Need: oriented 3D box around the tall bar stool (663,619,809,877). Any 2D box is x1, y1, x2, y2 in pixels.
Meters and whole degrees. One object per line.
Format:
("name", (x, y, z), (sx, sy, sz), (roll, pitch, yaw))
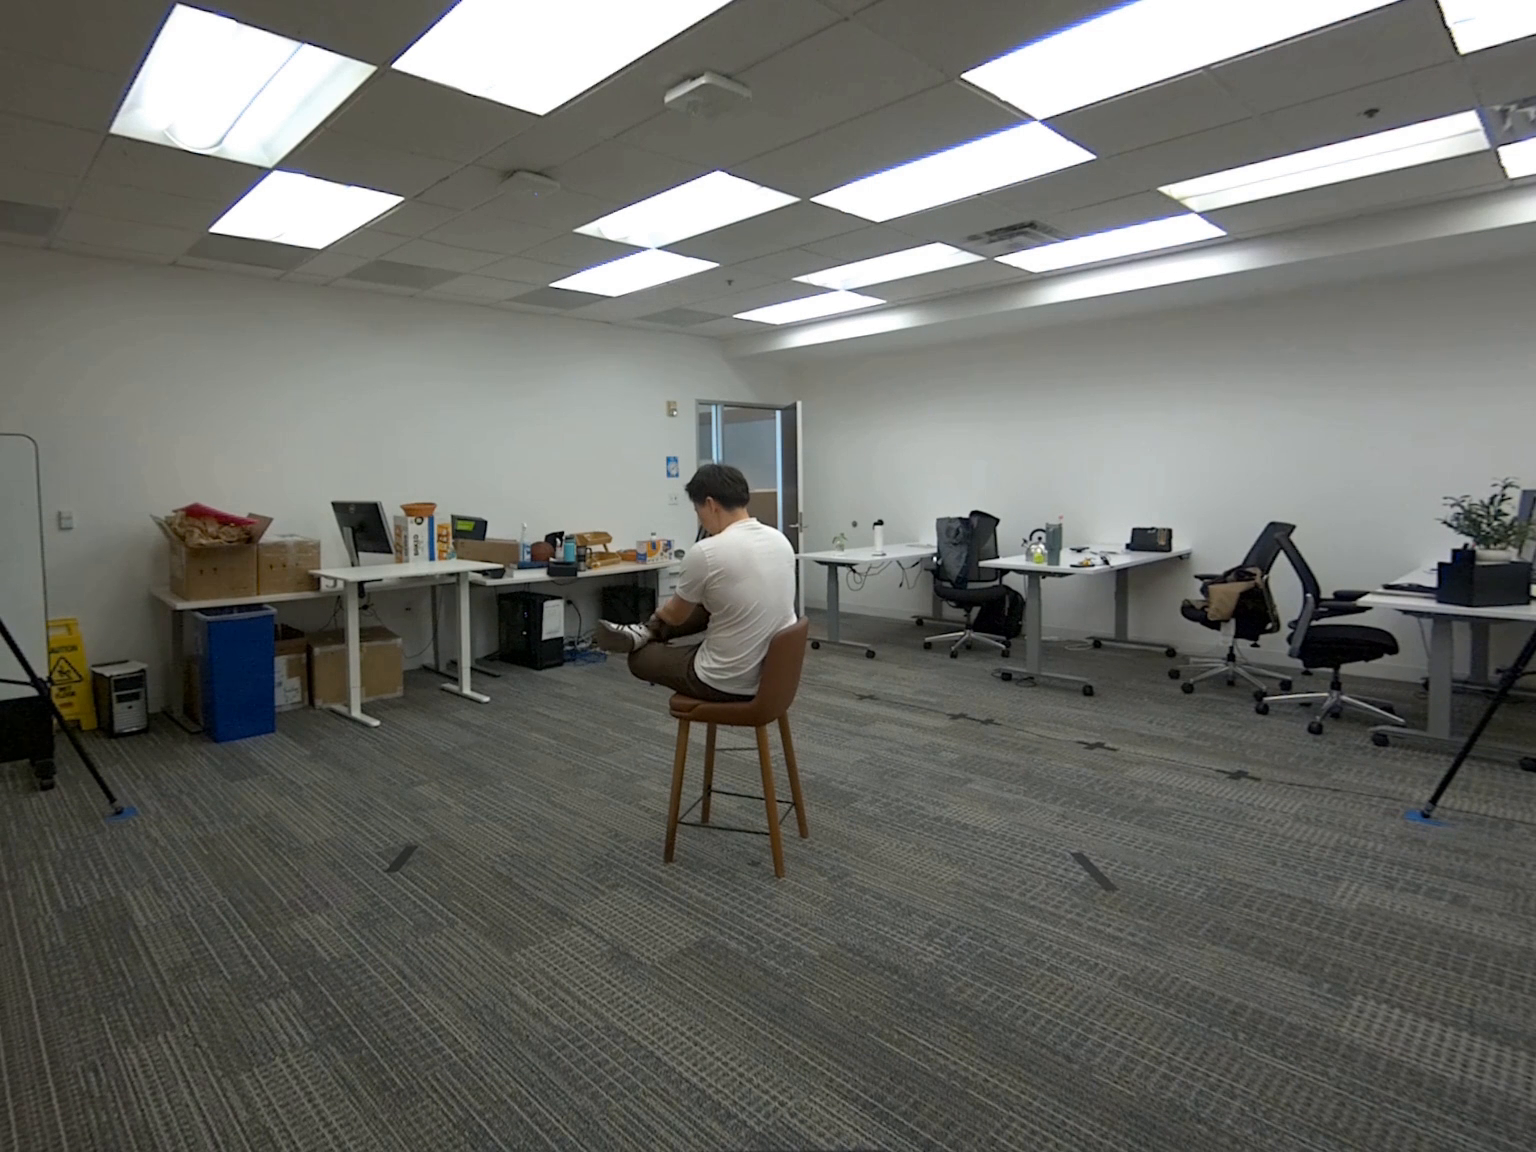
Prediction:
("tall bar stool", (-0.102, 0.604, 3.211), (0.477, 0.886, 0.449), (3, 5, 20))
